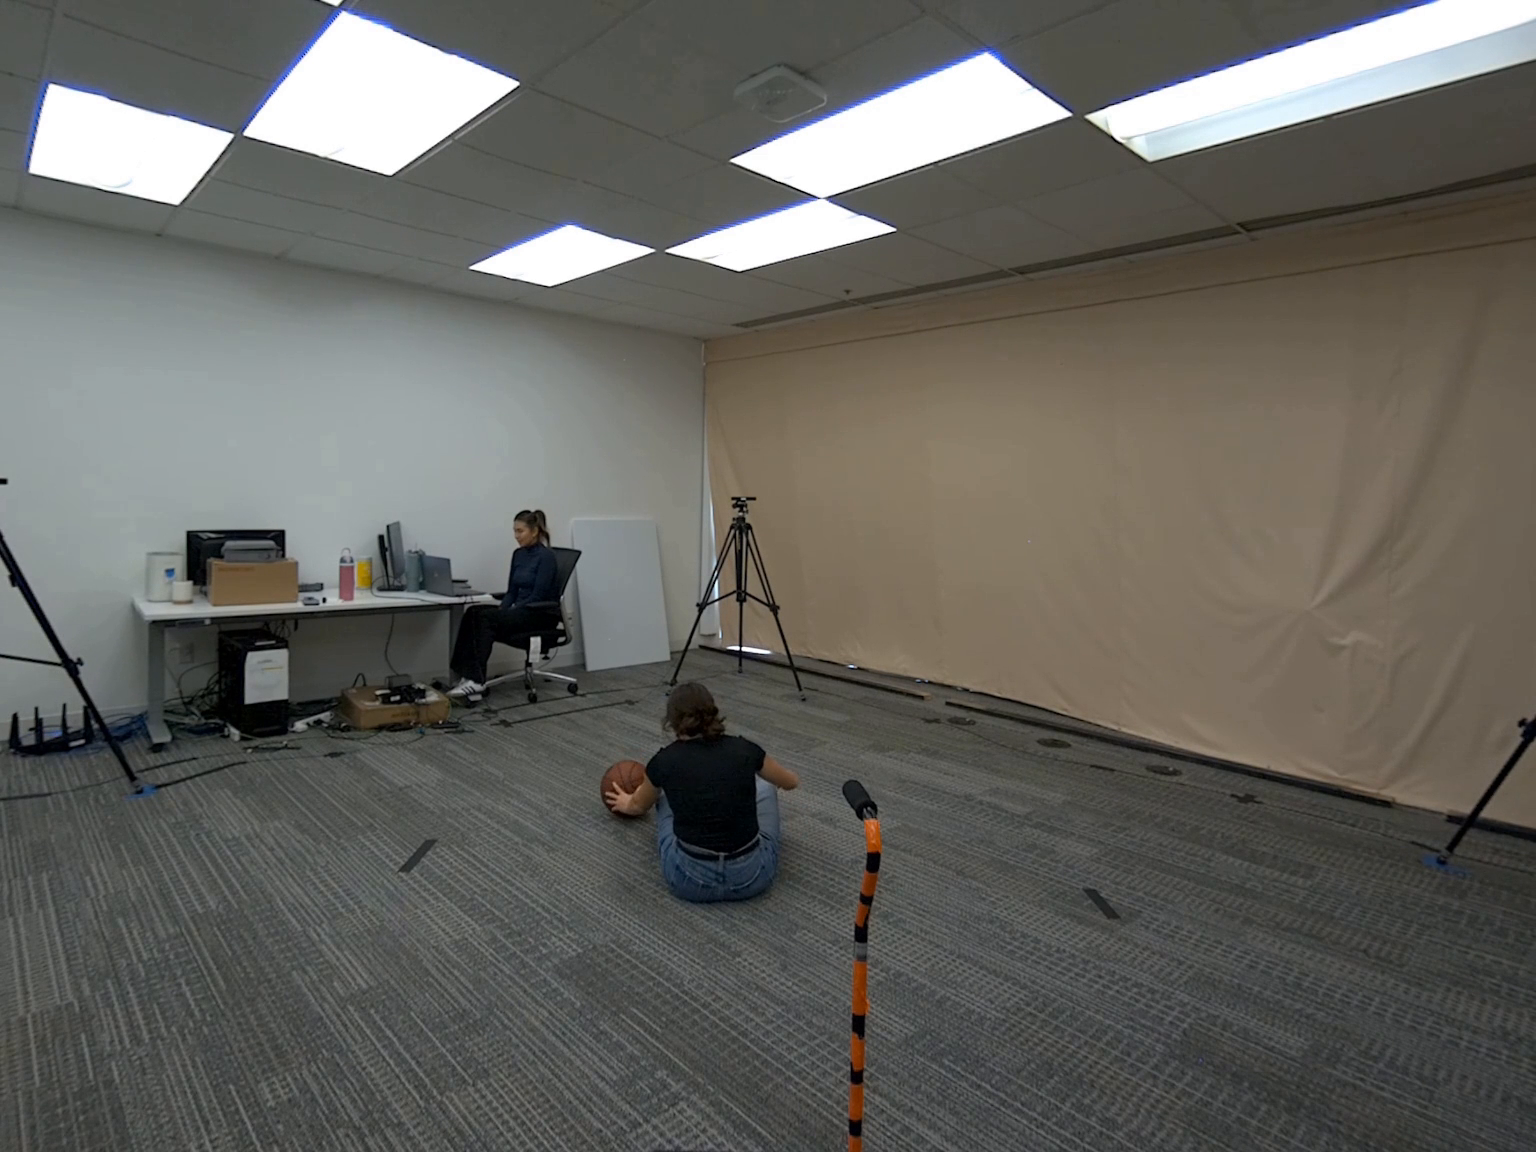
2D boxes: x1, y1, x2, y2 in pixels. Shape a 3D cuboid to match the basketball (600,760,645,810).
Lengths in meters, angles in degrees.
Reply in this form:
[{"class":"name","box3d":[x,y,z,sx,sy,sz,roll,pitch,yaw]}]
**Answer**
[{"class":"basketball","box3d":[-0.626,0.925,3.682,0.236,0.235,0.237,1,4,-1]}]
